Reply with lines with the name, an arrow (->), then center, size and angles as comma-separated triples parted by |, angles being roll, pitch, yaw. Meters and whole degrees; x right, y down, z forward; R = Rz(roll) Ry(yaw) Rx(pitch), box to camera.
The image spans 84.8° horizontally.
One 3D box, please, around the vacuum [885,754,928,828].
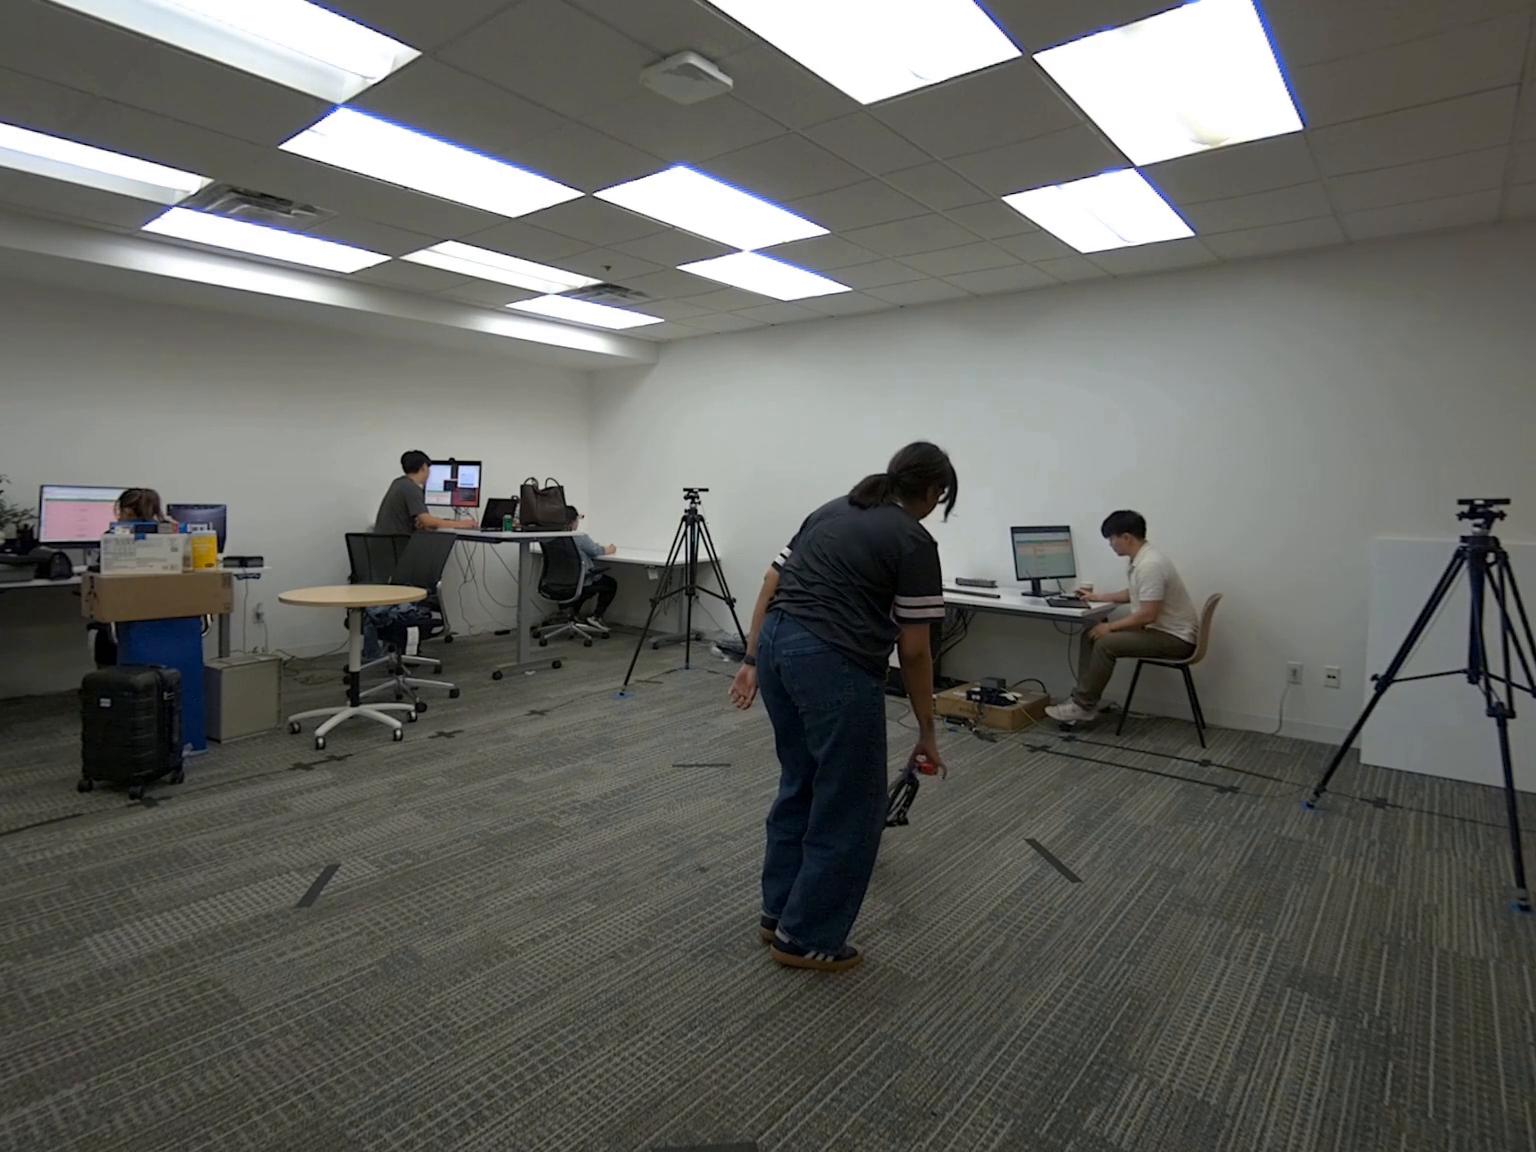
vacuum -> 0.385, 0.792, 2.931 | 0.251, 0.147, 1.030 | 3, -26, -5
